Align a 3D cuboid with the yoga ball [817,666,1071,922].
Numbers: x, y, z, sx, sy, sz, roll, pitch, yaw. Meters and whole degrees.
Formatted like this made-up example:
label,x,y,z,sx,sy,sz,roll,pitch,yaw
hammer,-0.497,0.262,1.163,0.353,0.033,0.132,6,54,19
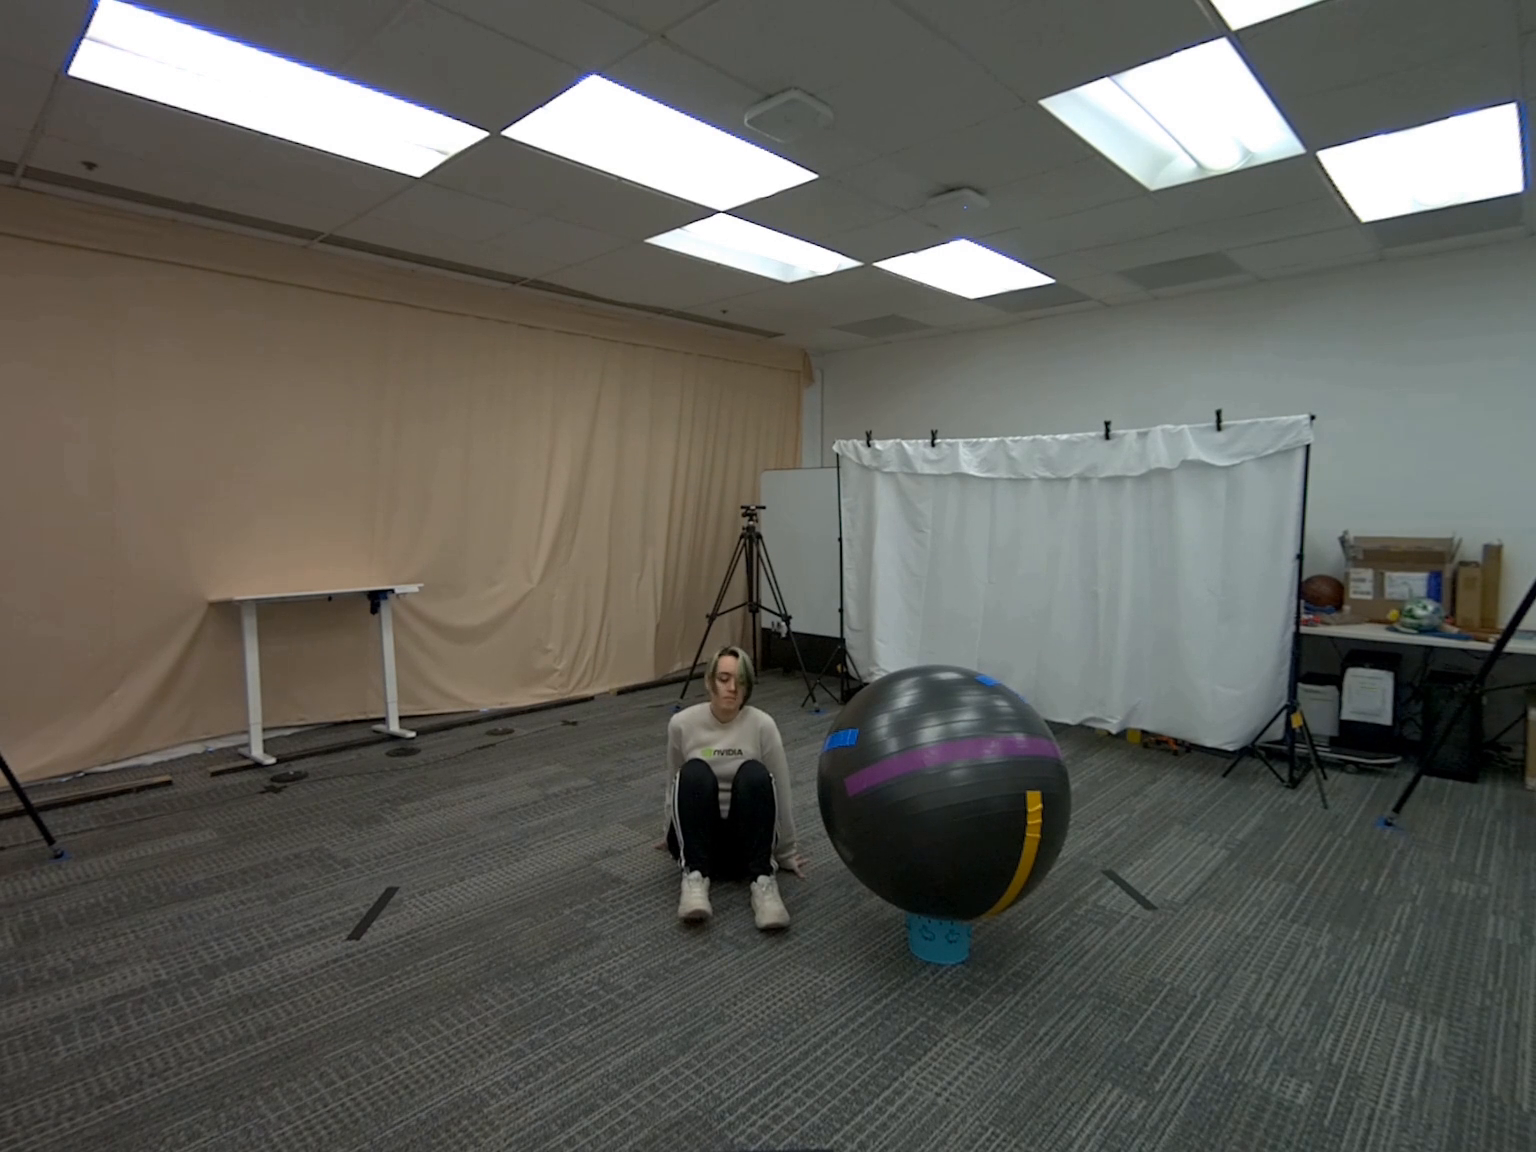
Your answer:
label,x,y,z,sx,sy,sz,roll,pitch,yaw
yoga ball,0.538,0.663,2.617,0.757,0.756,0.761,0,4,-2
